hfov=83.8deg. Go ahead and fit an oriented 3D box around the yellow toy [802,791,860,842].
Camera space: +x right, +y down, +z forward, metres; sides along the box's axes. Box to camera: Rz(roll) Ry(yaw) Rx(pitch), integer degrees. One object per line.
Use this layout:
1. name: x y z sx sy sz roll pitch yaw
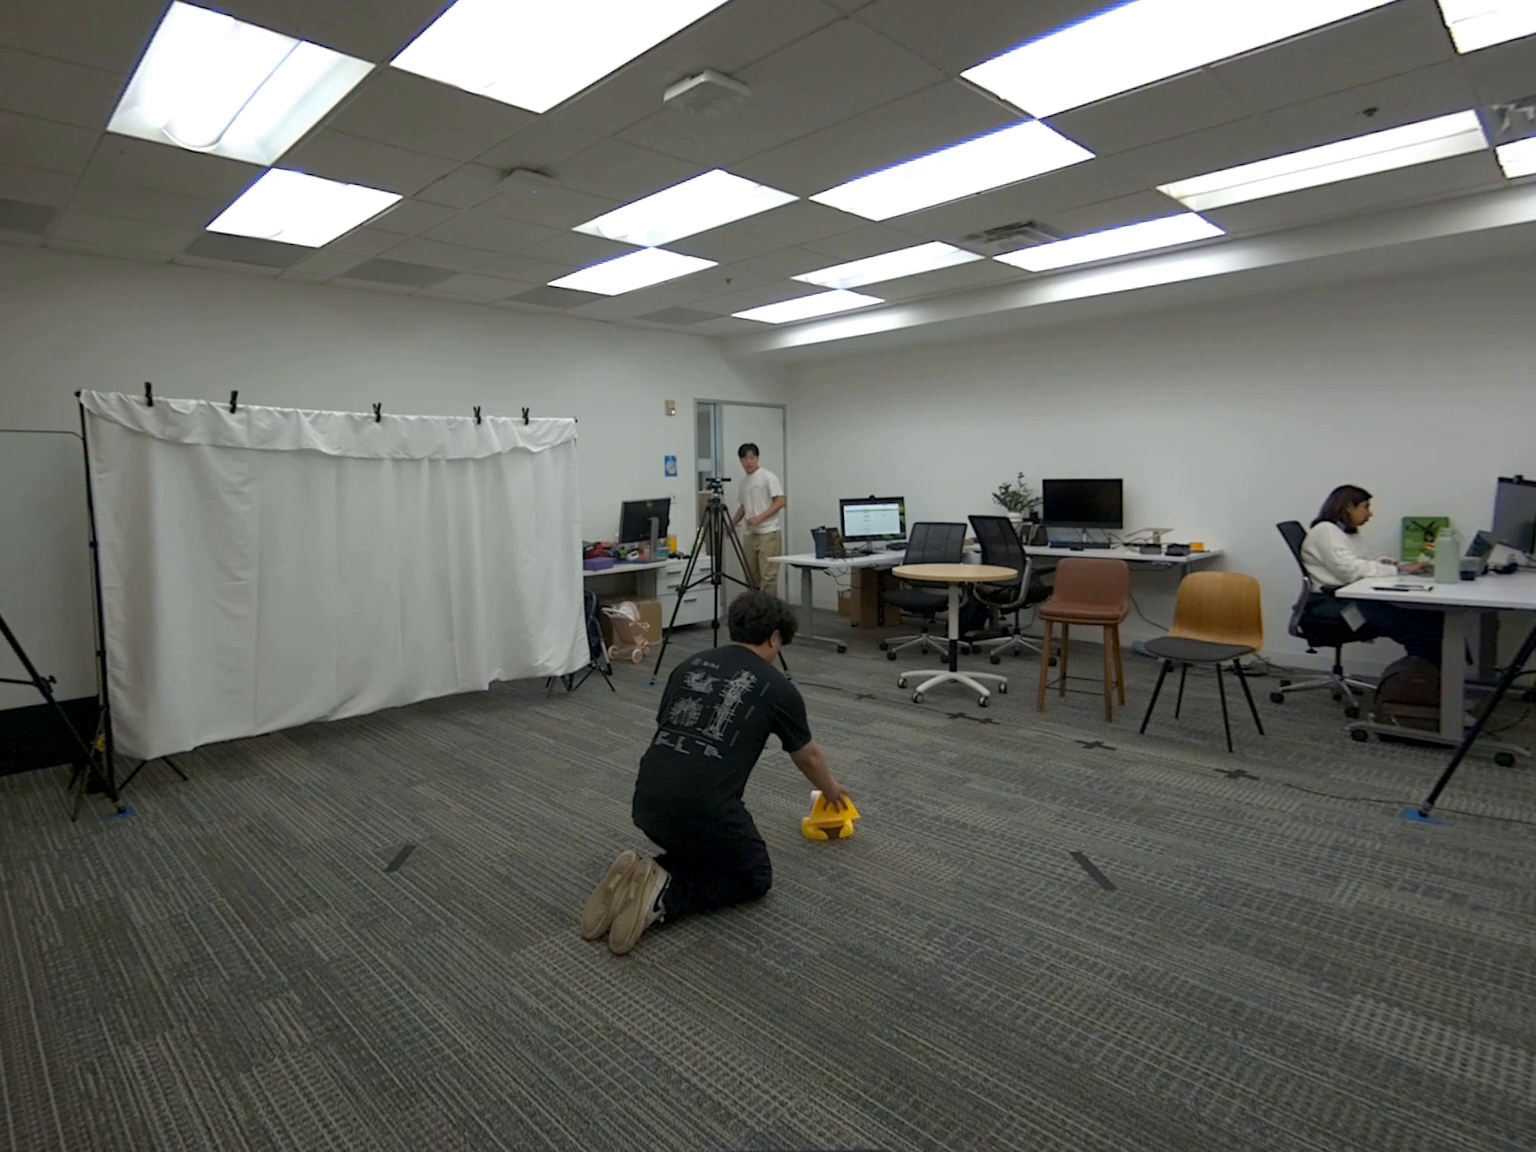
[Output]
1. yellow toy: 0.234 0.894 3.361 0.202 0.229 0.196 -3 6 -14
